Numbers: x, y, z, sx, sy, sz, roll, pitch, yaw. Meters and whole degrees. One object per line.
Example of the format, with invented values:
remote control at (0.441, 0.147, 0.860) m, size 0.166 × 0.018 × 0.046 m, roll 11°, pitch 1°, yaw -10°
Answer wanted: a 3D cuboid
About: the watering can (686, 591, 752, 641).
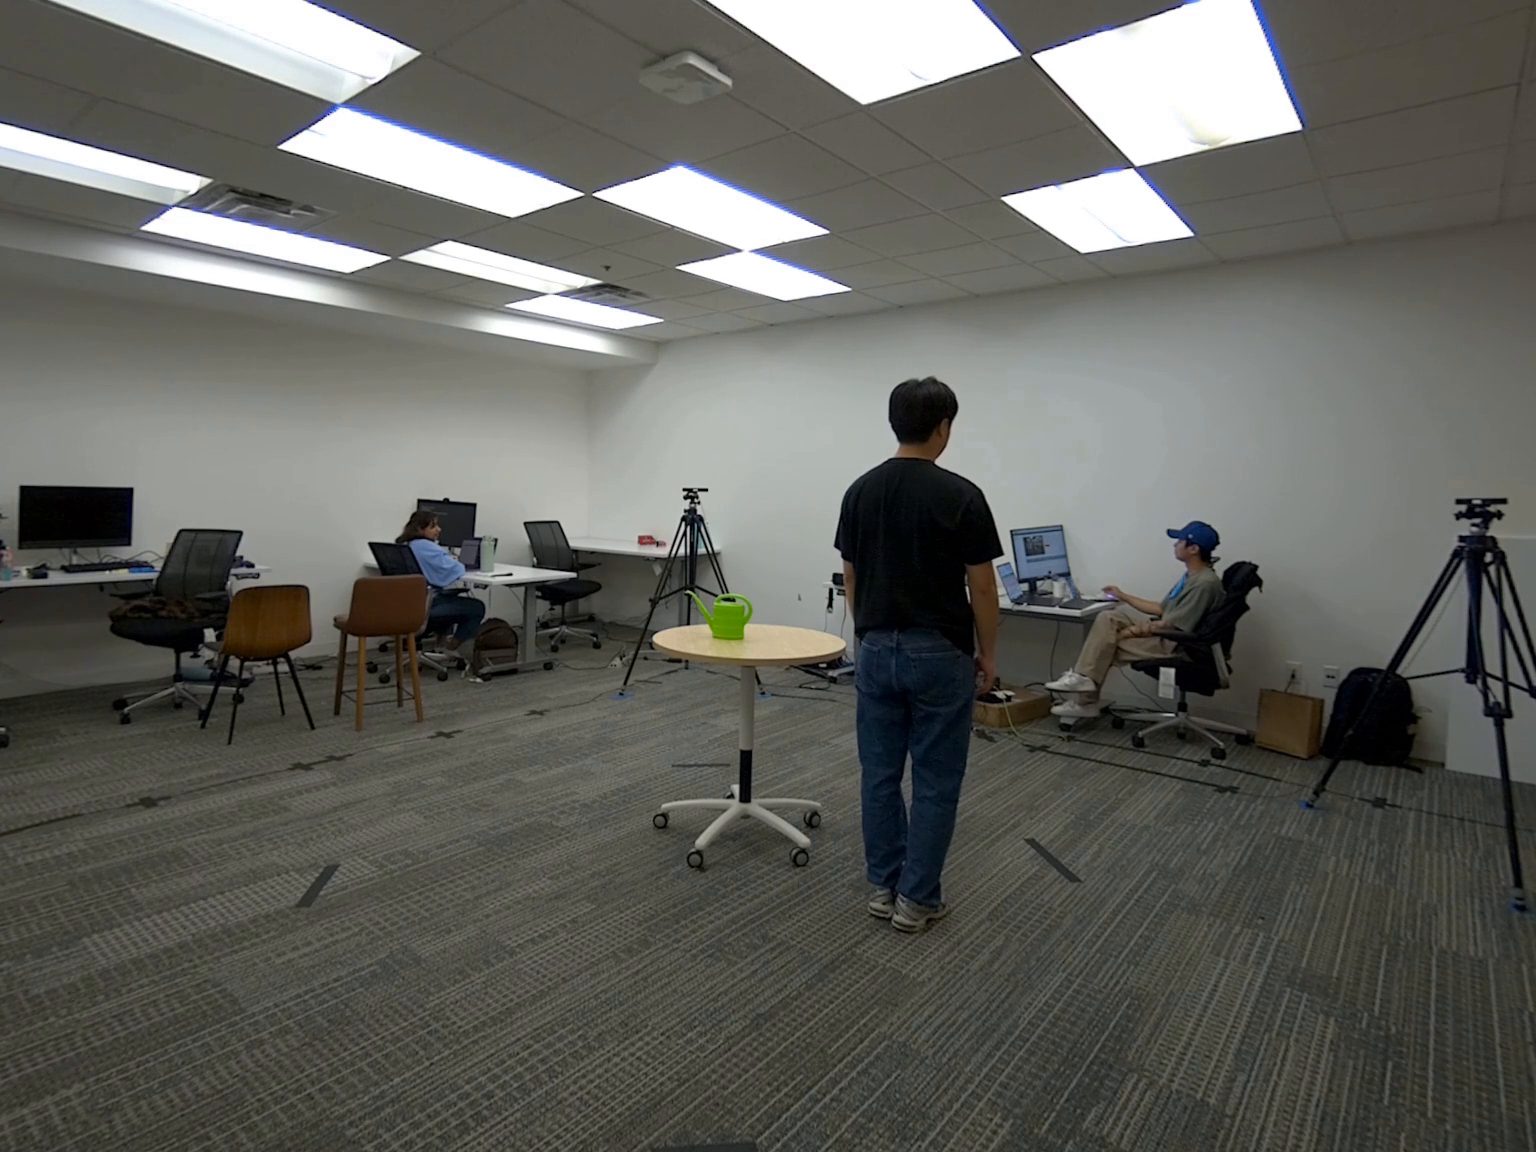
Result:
watering can at (-0.208, 0.152, 3.426) m, size 0.286 × 0.176 × 0.096 m, roll 7°, pitch 4°, yaw 25°
